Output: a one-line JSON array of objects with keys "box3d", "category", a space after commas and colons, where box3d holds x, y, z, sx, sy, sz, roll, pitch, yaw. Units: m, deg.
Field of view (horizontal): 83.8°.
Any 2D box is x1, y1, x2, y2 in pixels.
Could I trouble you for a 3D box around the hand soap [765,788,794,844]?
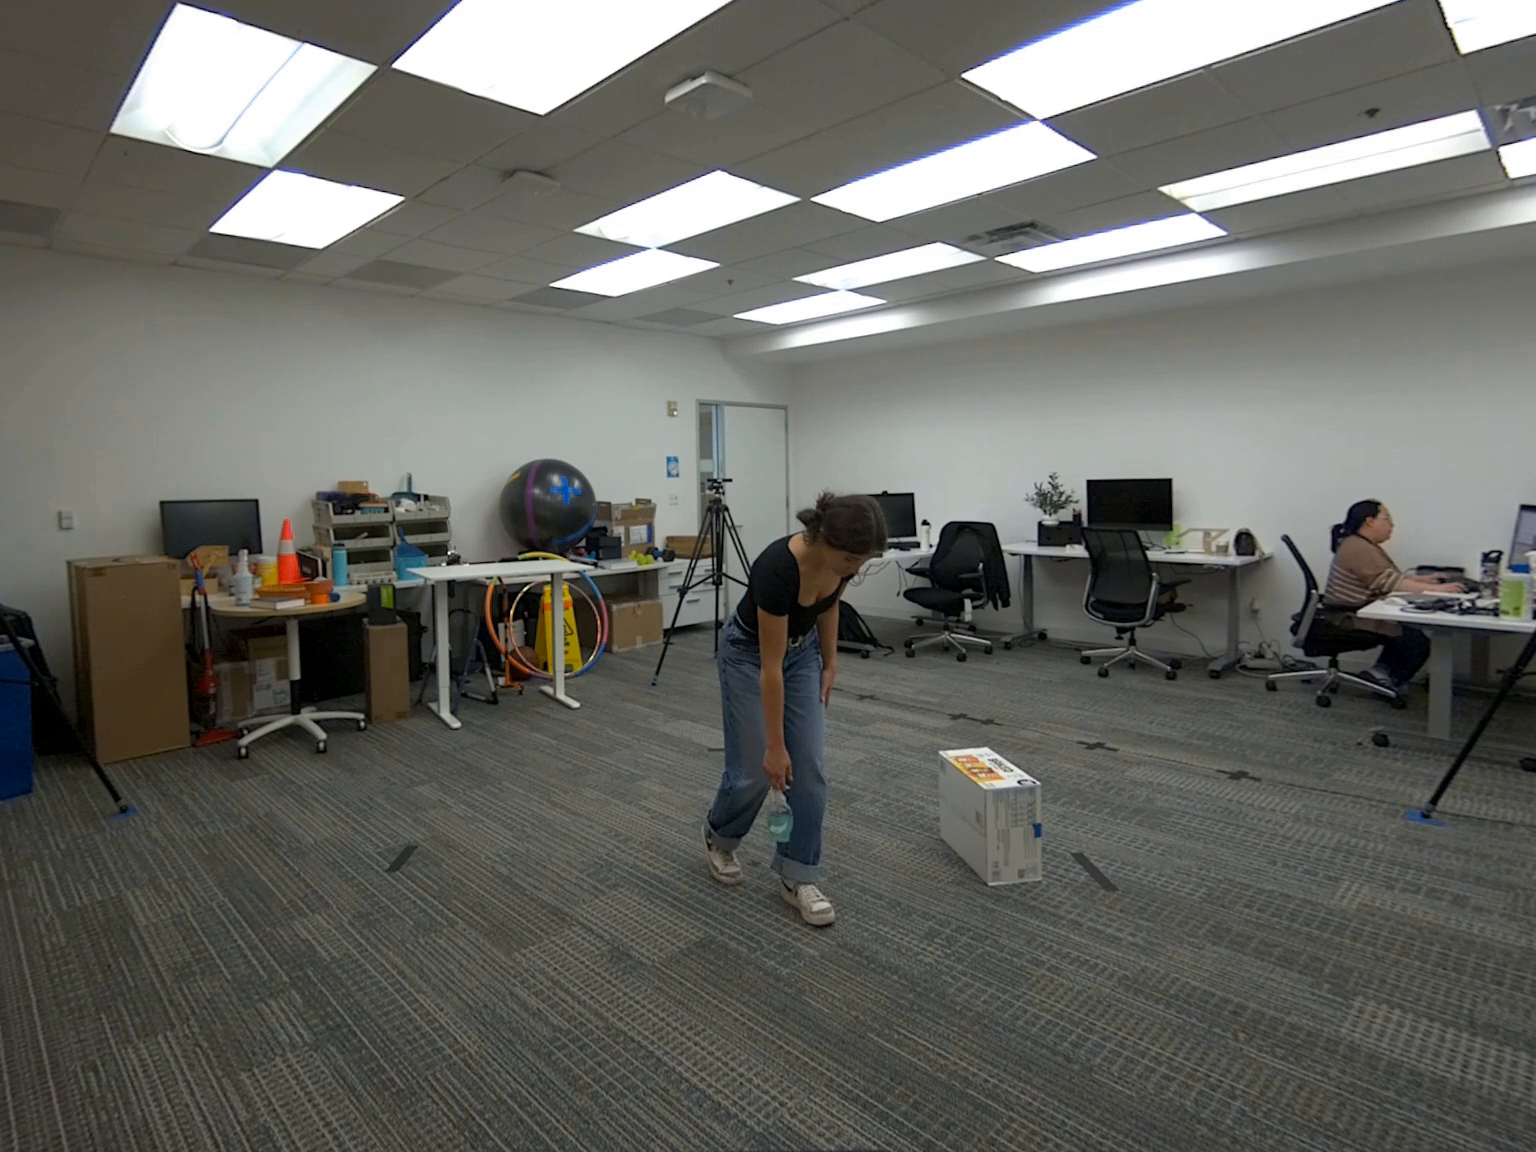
[{"box3d": [0.031, 0.722, 2.618, 0.086, 0.168, 0.042, 0, -3, 26], "category": "hand soap"}]
